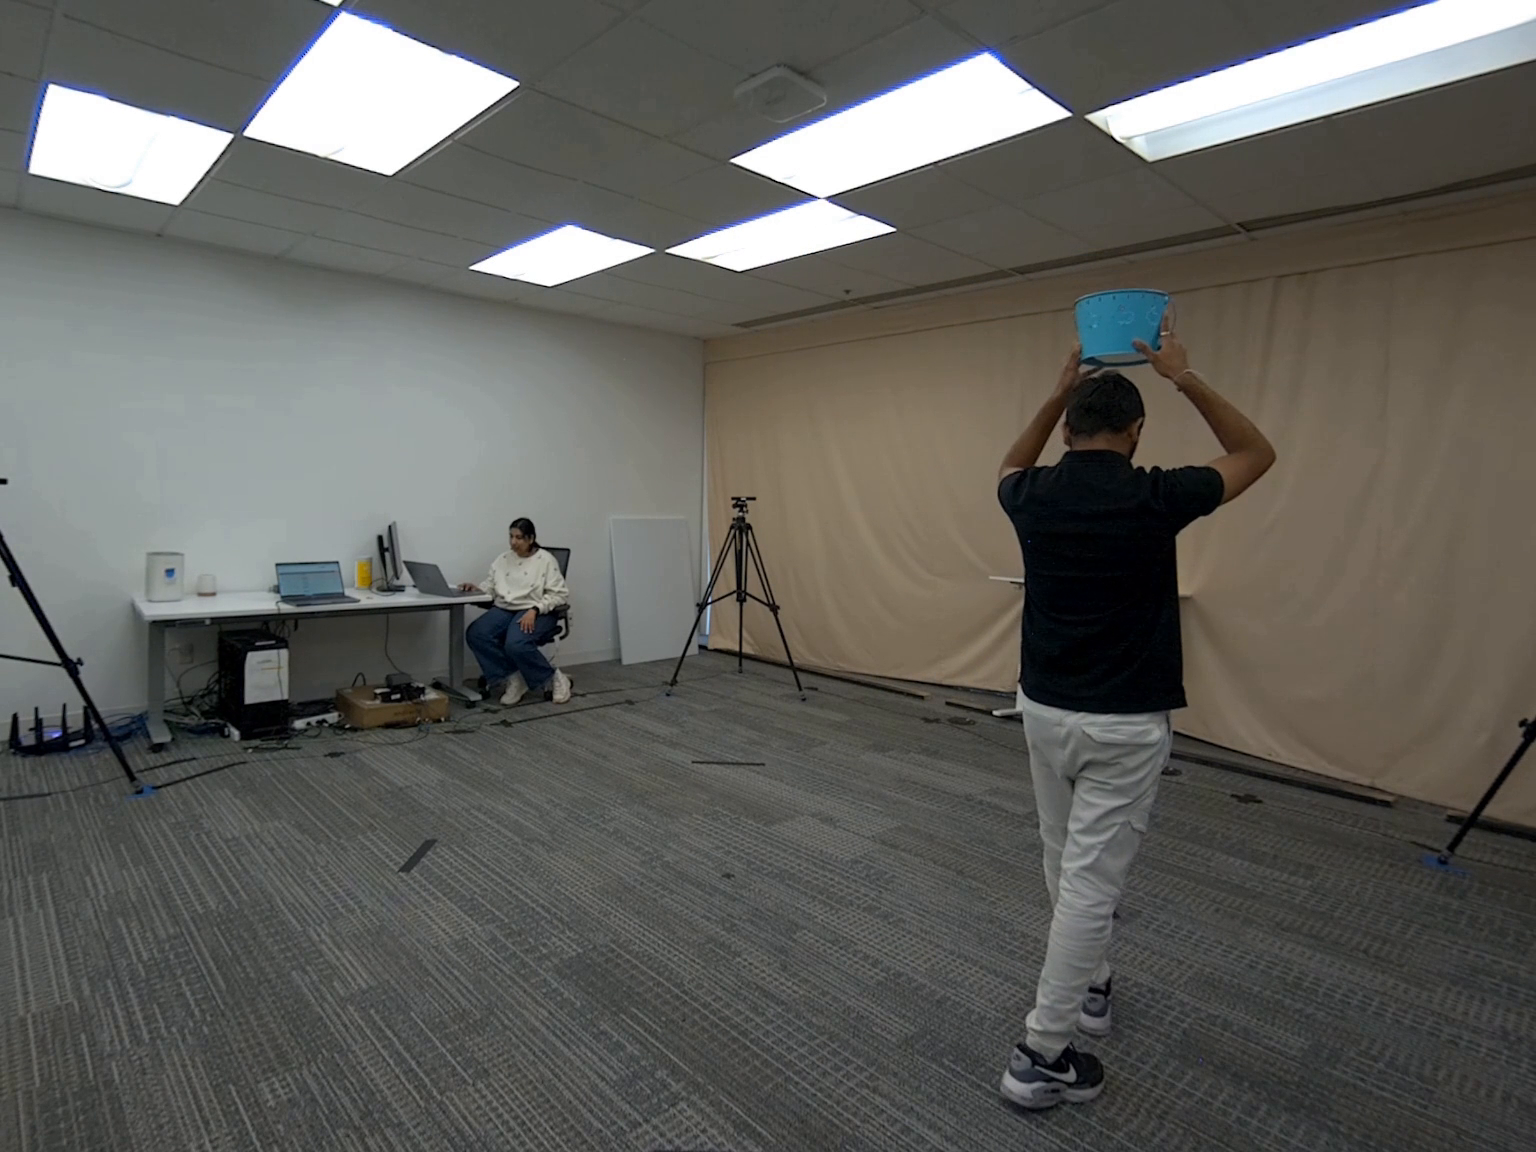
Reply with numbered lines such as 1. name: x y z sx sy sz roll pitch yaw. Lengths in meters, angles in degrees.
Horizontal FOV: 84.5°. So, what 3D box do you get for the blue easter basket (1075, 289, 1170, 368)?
1. blue easter basket: 0.917 -0.640 2.169 0.243 0.155 0.244 3 5 -2
